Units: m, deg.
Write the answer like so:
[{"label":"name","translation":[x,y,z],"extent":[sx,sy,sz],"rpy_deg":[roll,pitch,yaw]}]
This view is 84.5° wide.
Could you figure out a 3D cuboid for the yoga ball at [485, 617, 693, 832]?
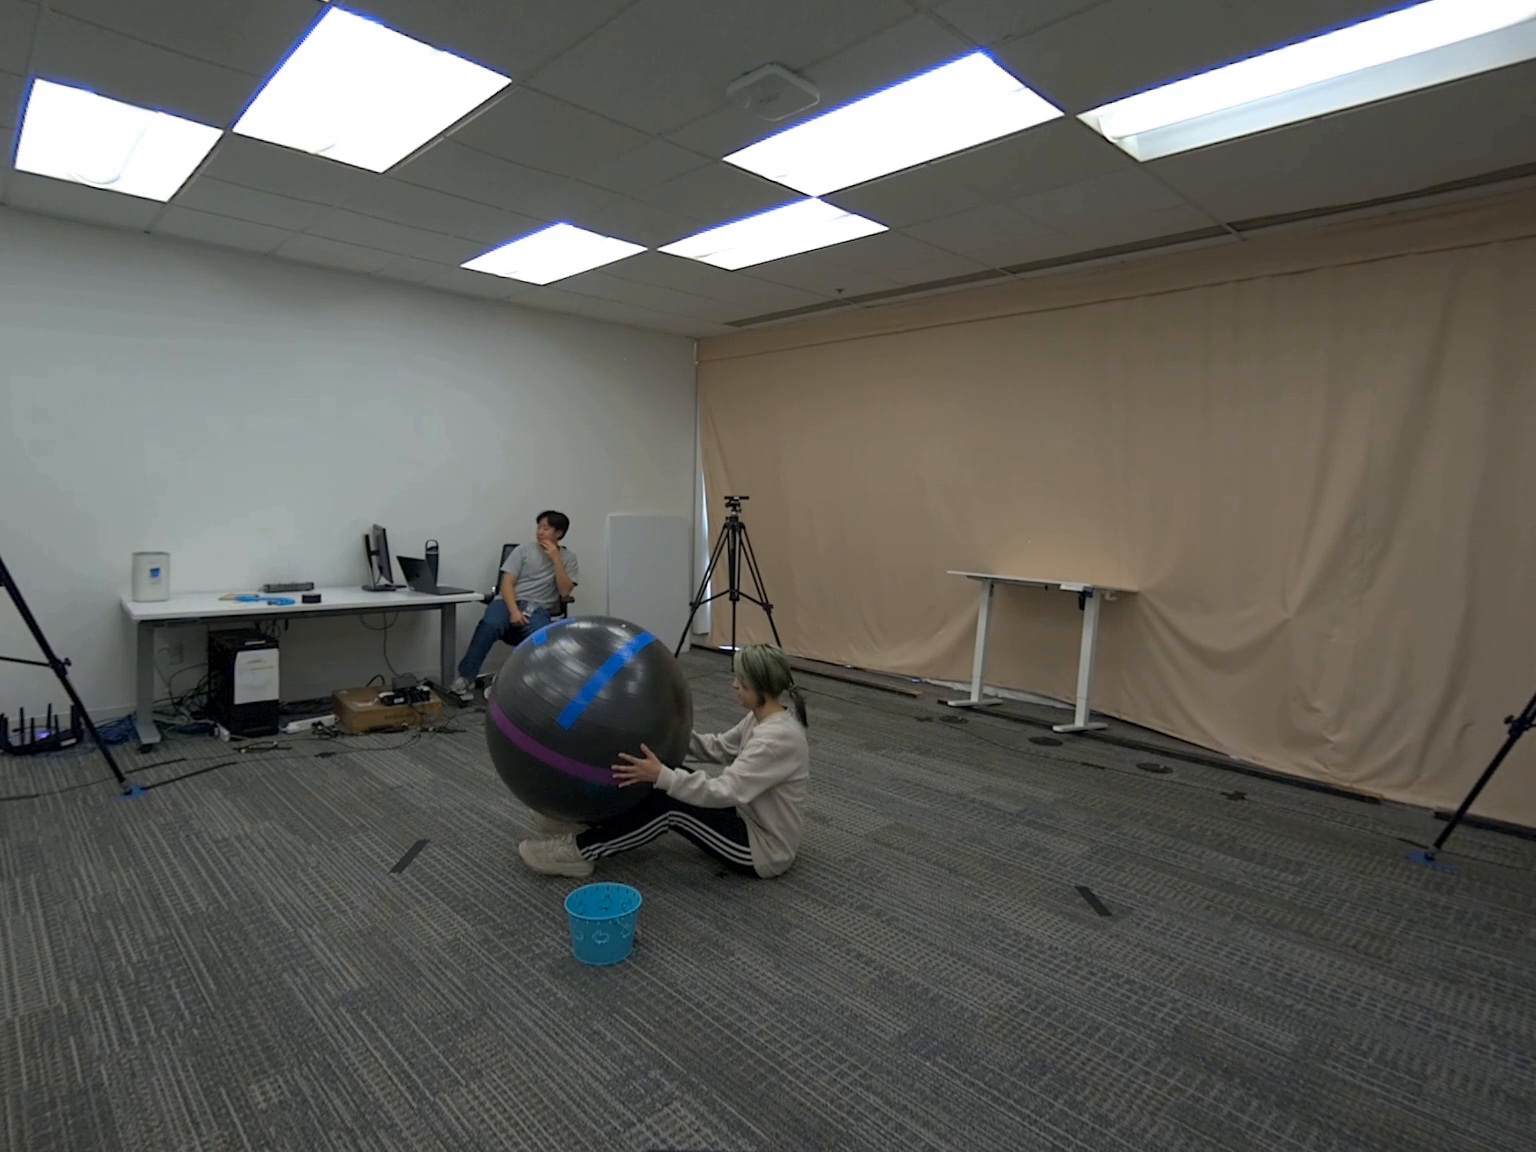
[{"label":"yoga ball","translation":[-0.679,0.523,3.135],"extent":[0.757,0.756,0.761],"rpy_deg":[1,4,-1]}]
